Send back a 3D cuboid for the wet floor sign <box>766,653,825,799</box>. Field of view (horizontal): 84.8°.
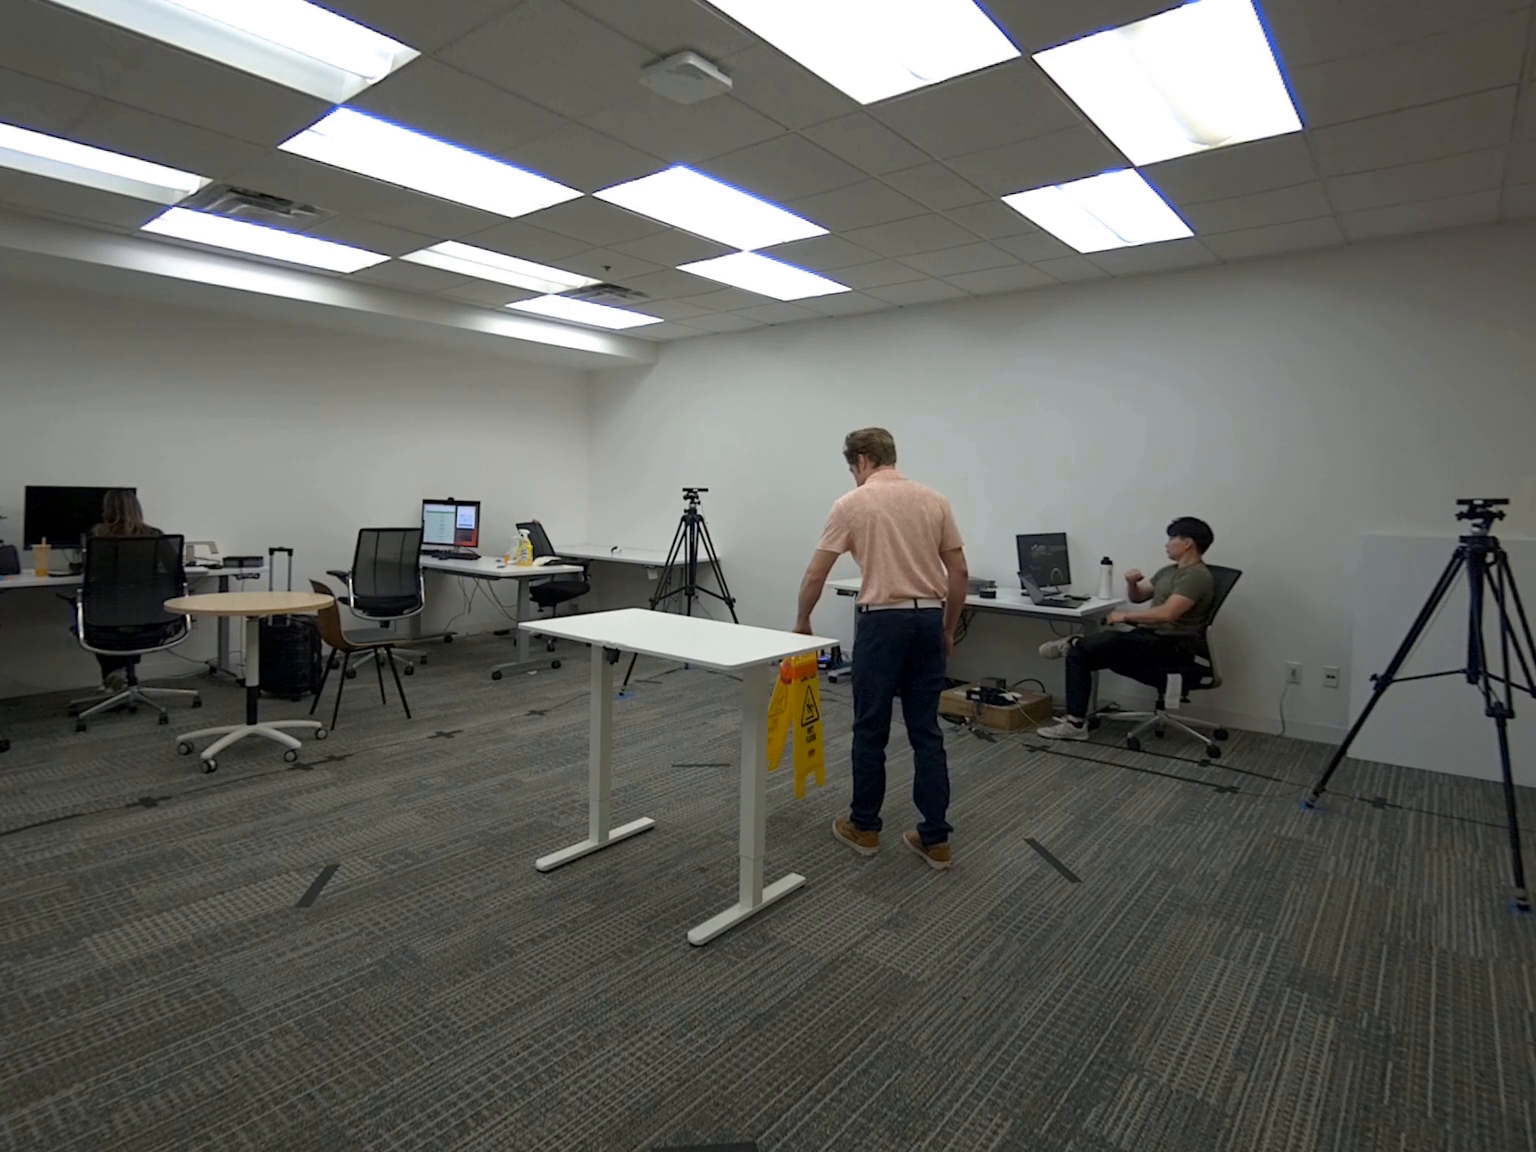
[{"bbox_3d":[0.107,0.564,3.609,0.299,0.643,0.275,10,6,29],"label":"wet floor sign"}]
